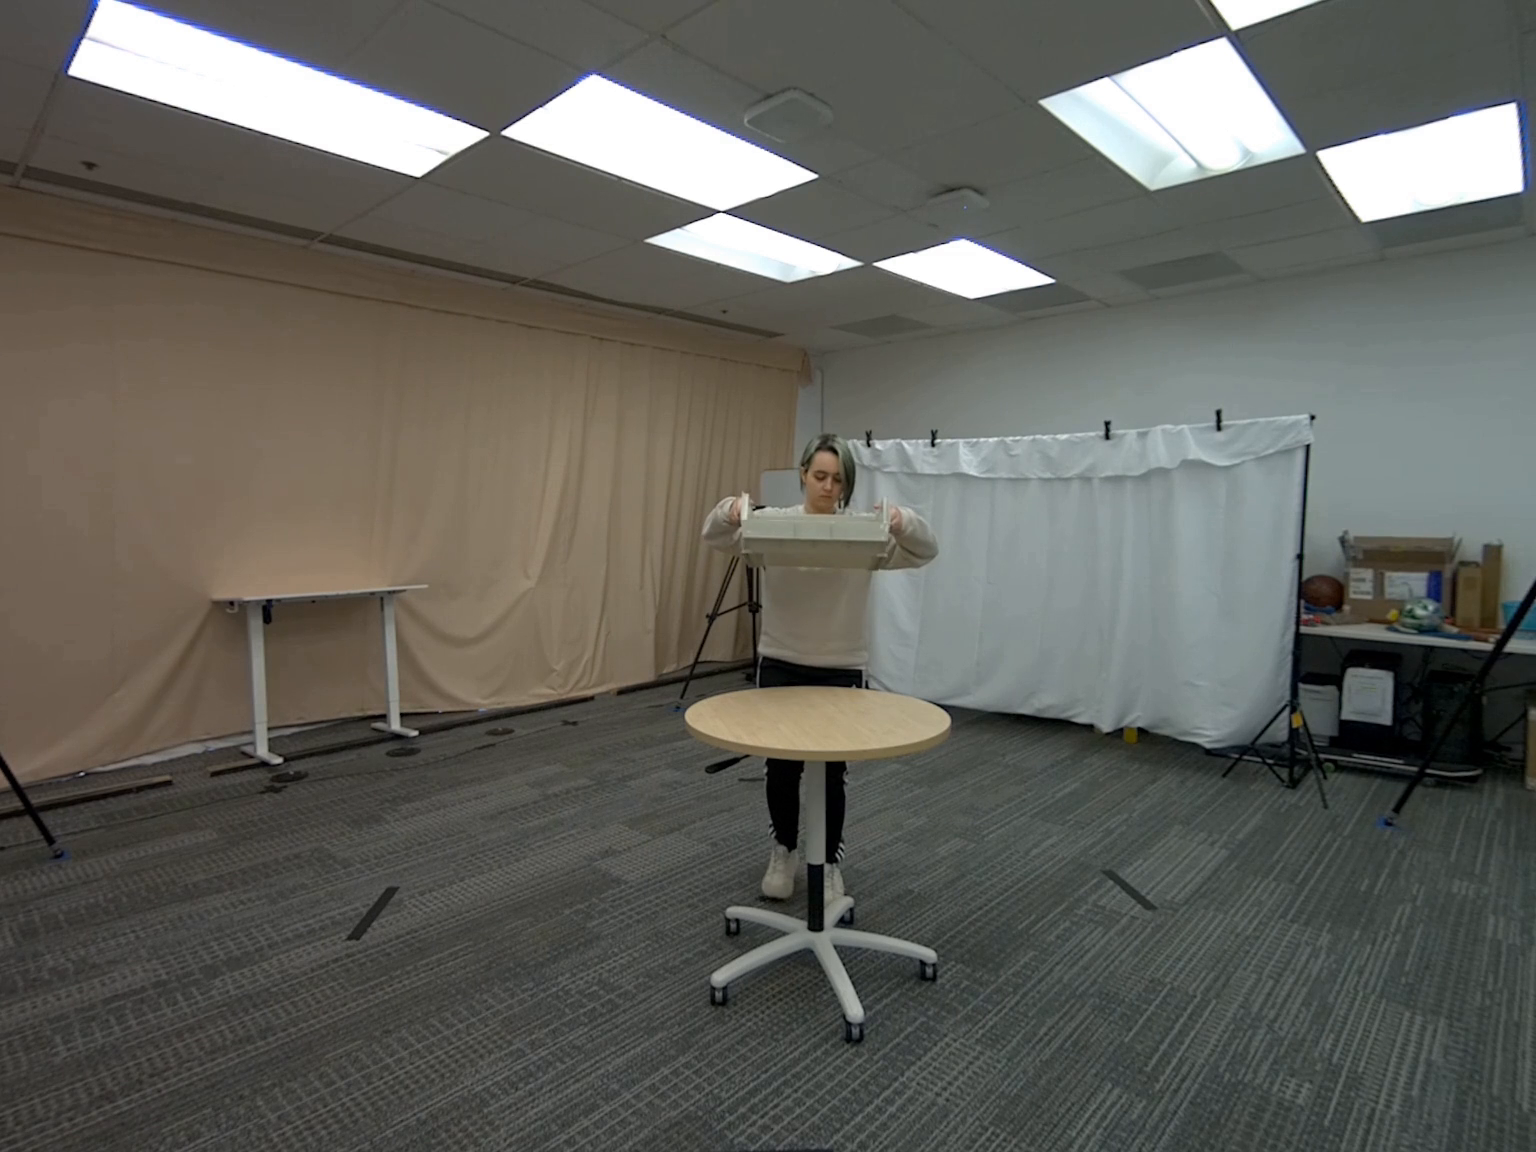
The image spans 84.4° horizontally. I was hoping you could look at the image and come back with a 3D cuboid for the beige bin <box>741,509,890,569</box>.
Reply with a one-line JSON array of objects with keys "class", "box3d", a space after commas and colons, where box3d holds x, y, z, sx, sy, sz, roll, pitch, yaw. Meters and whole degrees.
[{"class": "beige bin", "box3d": [0.140, -0.128, 2.538, 0.425, 0.190, 0.373, 2, -8, 5]}]
